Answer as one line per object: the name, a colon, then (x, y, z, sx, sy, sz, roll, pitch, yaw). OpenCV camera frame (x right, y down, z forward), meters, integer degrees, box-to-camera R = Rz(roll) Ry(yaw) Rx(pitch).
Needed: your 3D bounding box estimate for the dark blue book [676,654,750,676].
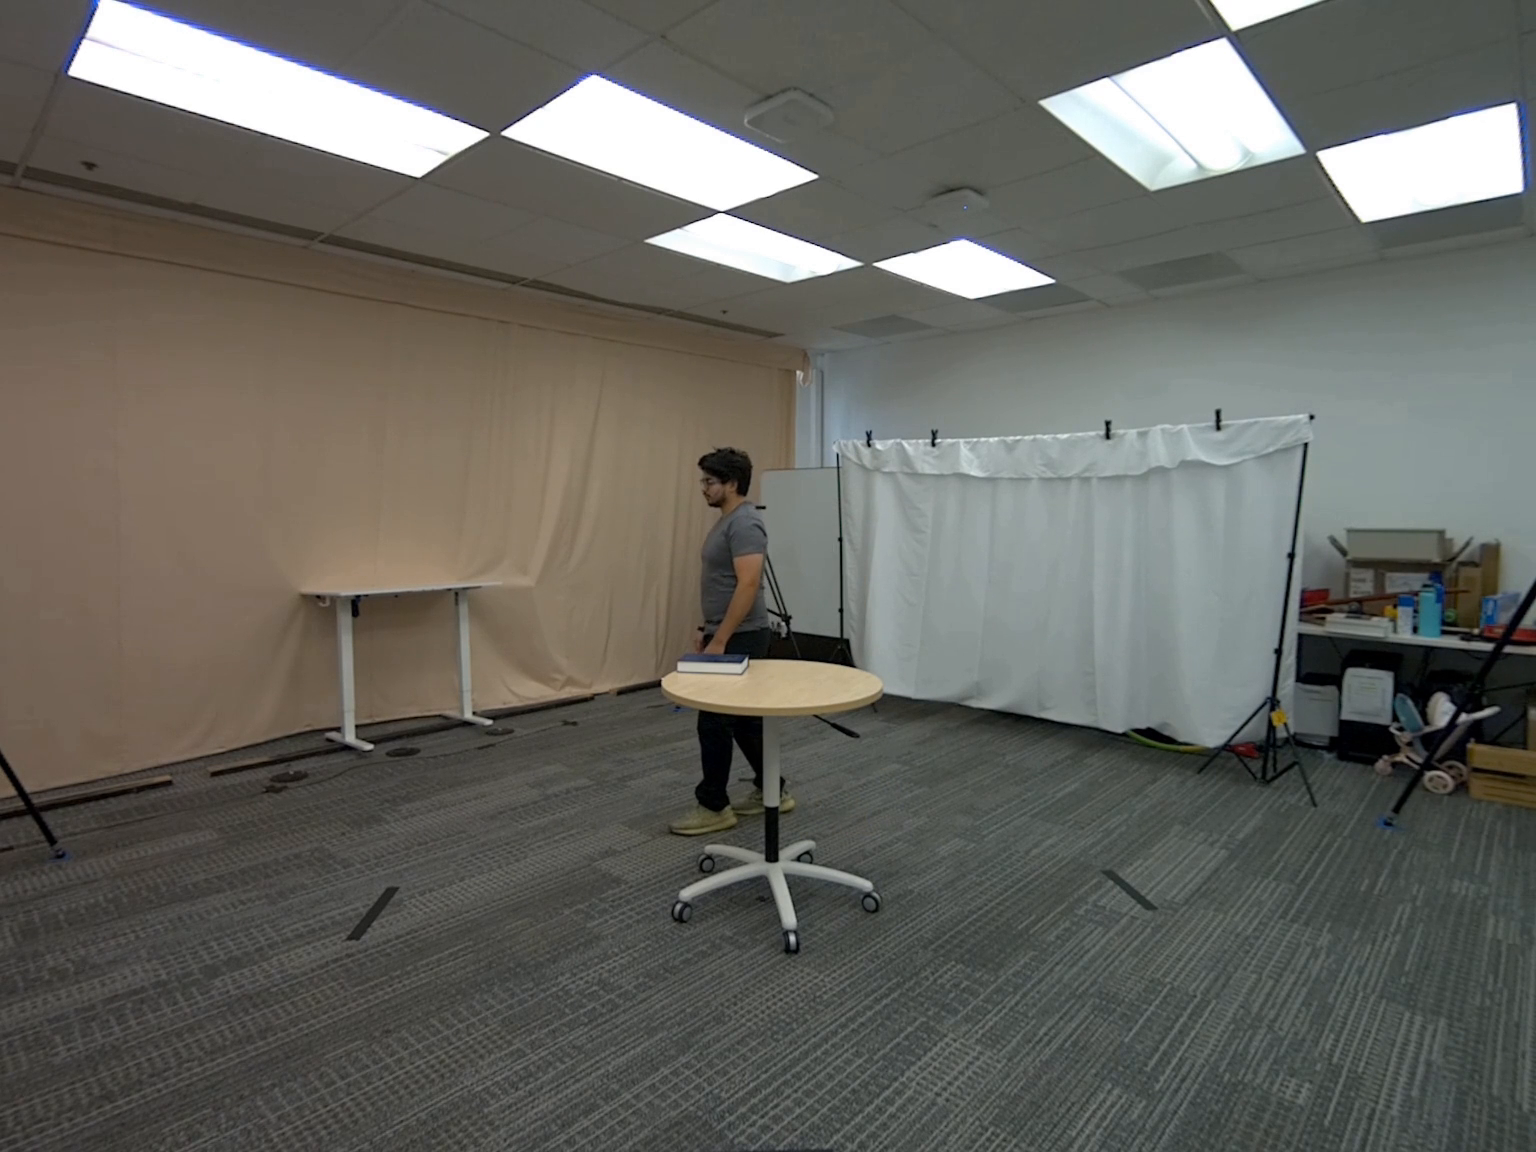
dark blue book: (-0.197, 0.325, 3.139, 0.248, 0.045, 0.162, 1, 6, 10)
